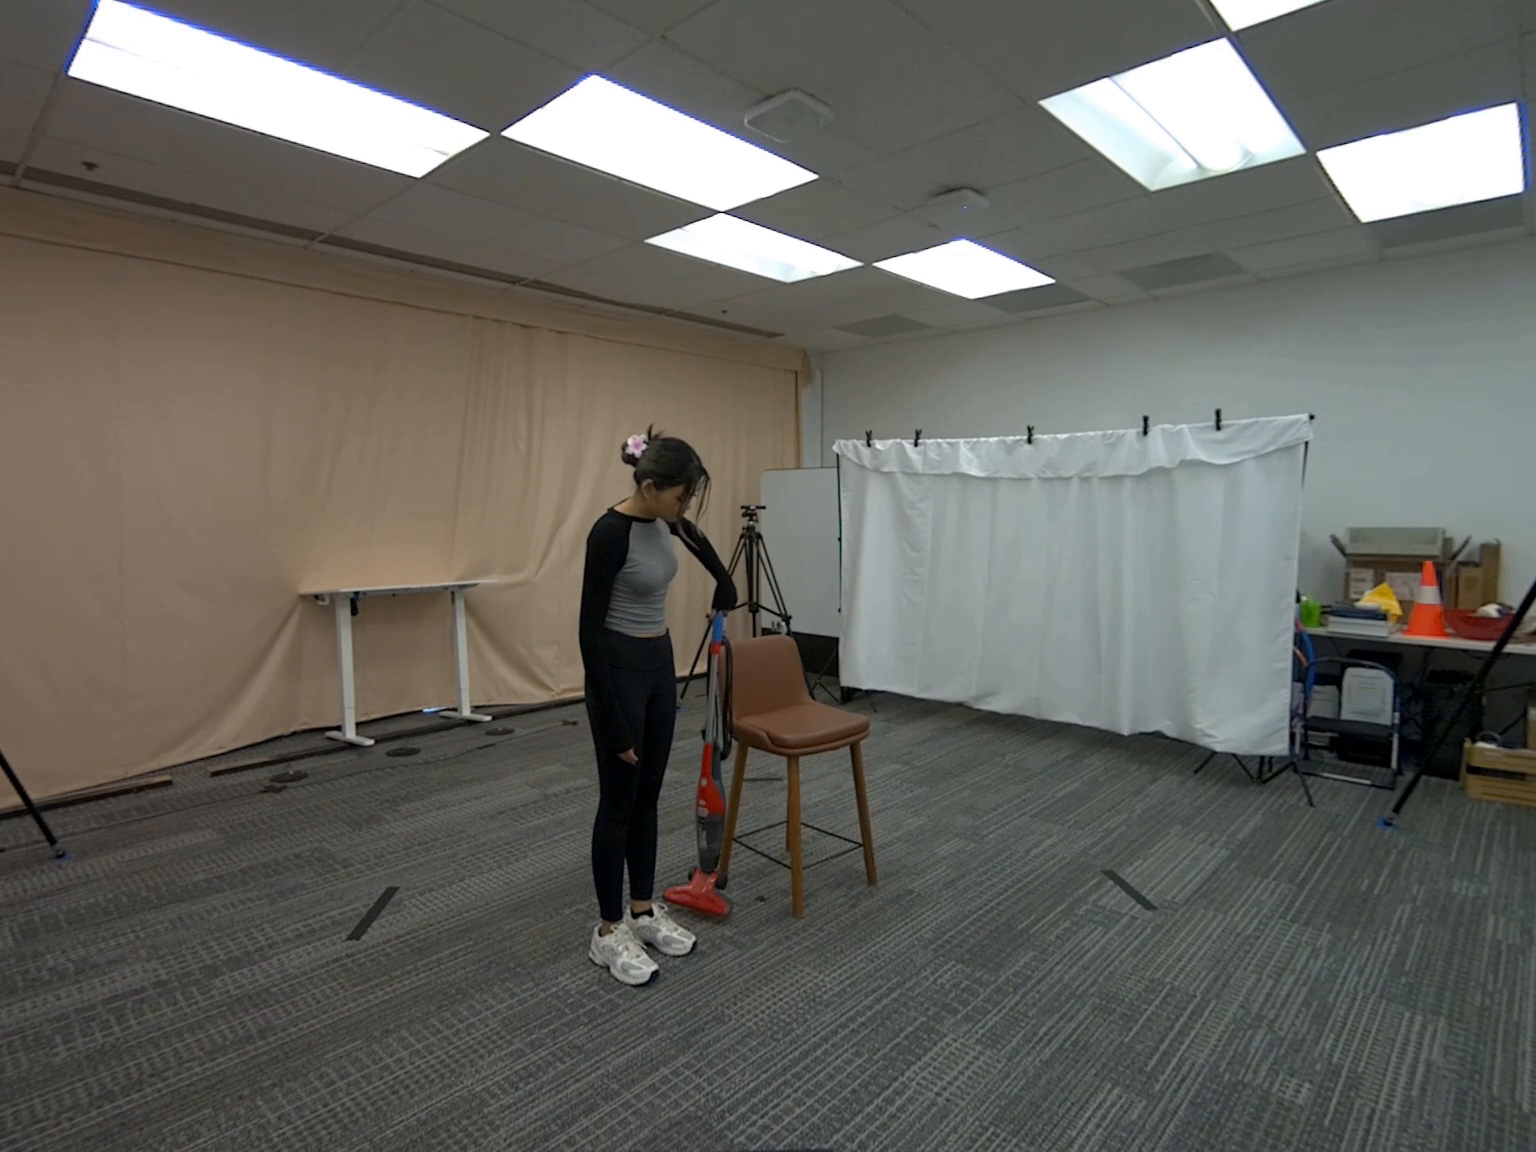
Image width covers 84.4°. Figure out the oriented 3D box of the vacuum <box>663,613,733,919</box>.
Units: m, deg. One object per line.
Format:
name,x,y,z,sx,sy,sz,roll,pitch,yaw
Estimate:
vacuum,-0.181,0.578,2.887,0.260,1.050,0.139,4,-2,31
